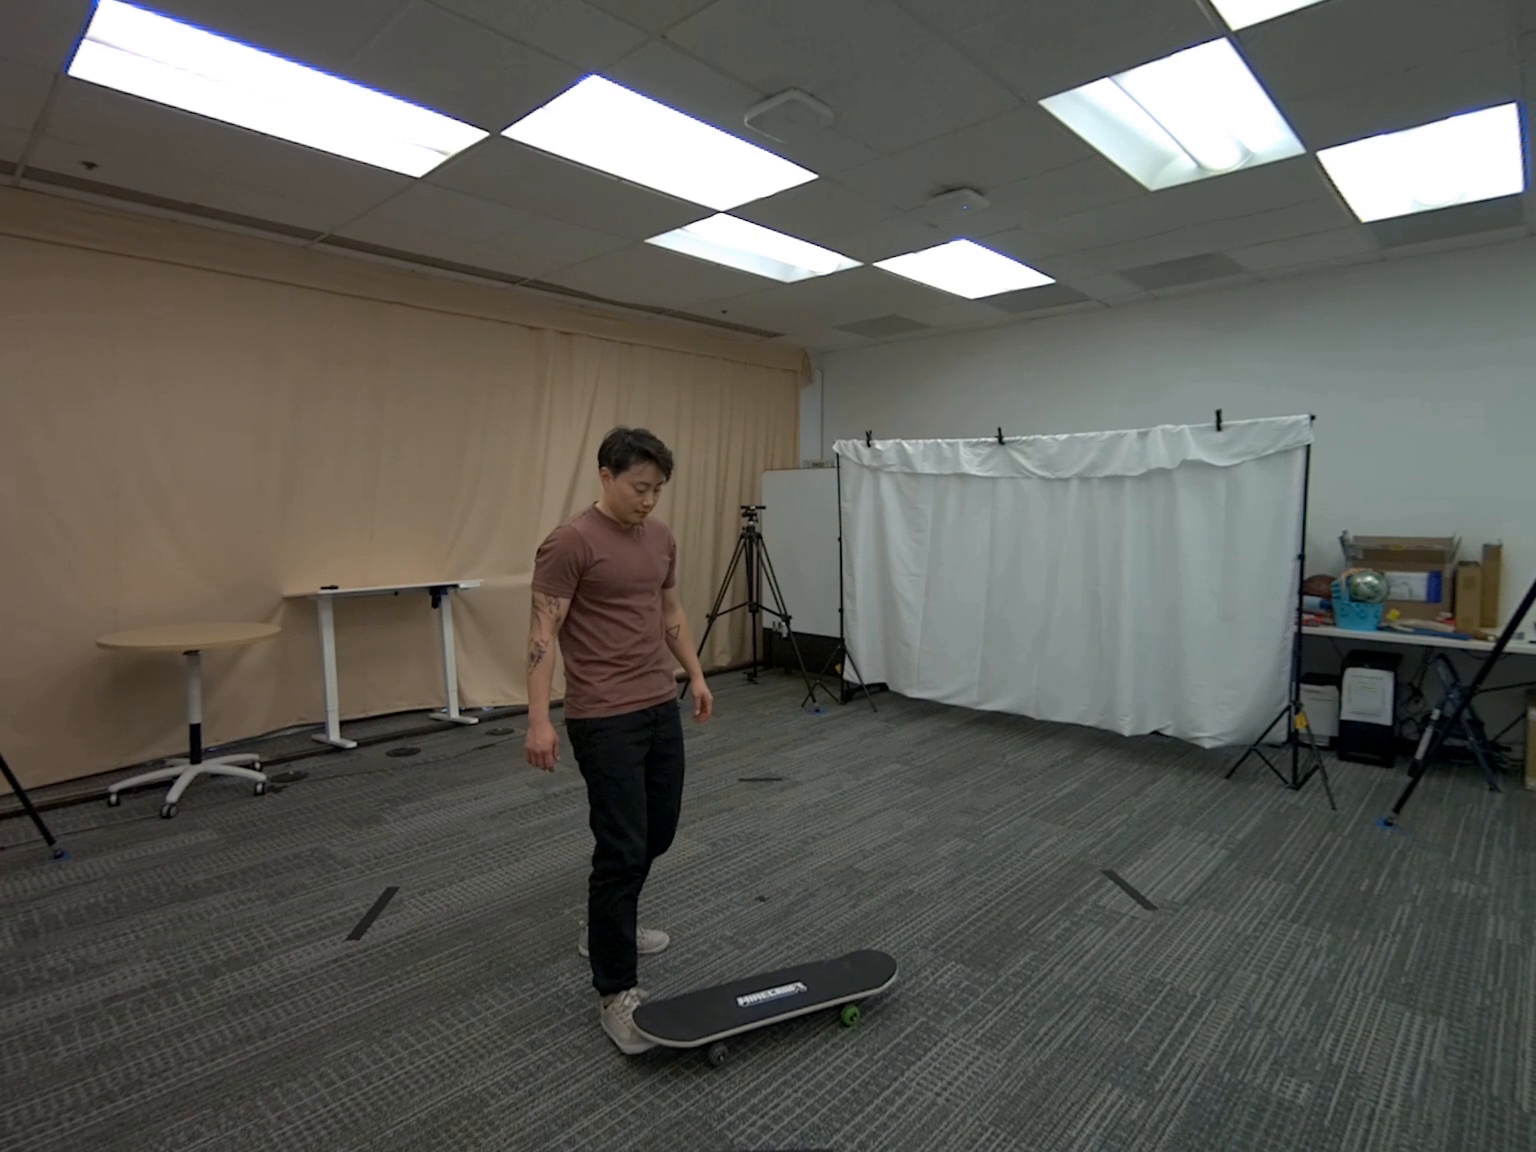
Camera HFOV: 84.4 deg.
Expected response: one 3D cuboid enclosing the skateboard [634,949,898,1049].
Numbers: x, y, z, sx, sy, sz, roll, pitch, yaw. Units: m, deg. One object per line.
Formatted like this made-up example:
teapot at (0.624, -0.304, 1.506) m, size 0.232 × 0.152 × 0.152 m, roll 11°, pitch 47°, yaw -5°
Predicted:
skateboard at (0.012, 1.149, 2.231) m, size 0.766 × 0.110 × 0.199 m, roll 0°, pitch 3°, yaw -26°
